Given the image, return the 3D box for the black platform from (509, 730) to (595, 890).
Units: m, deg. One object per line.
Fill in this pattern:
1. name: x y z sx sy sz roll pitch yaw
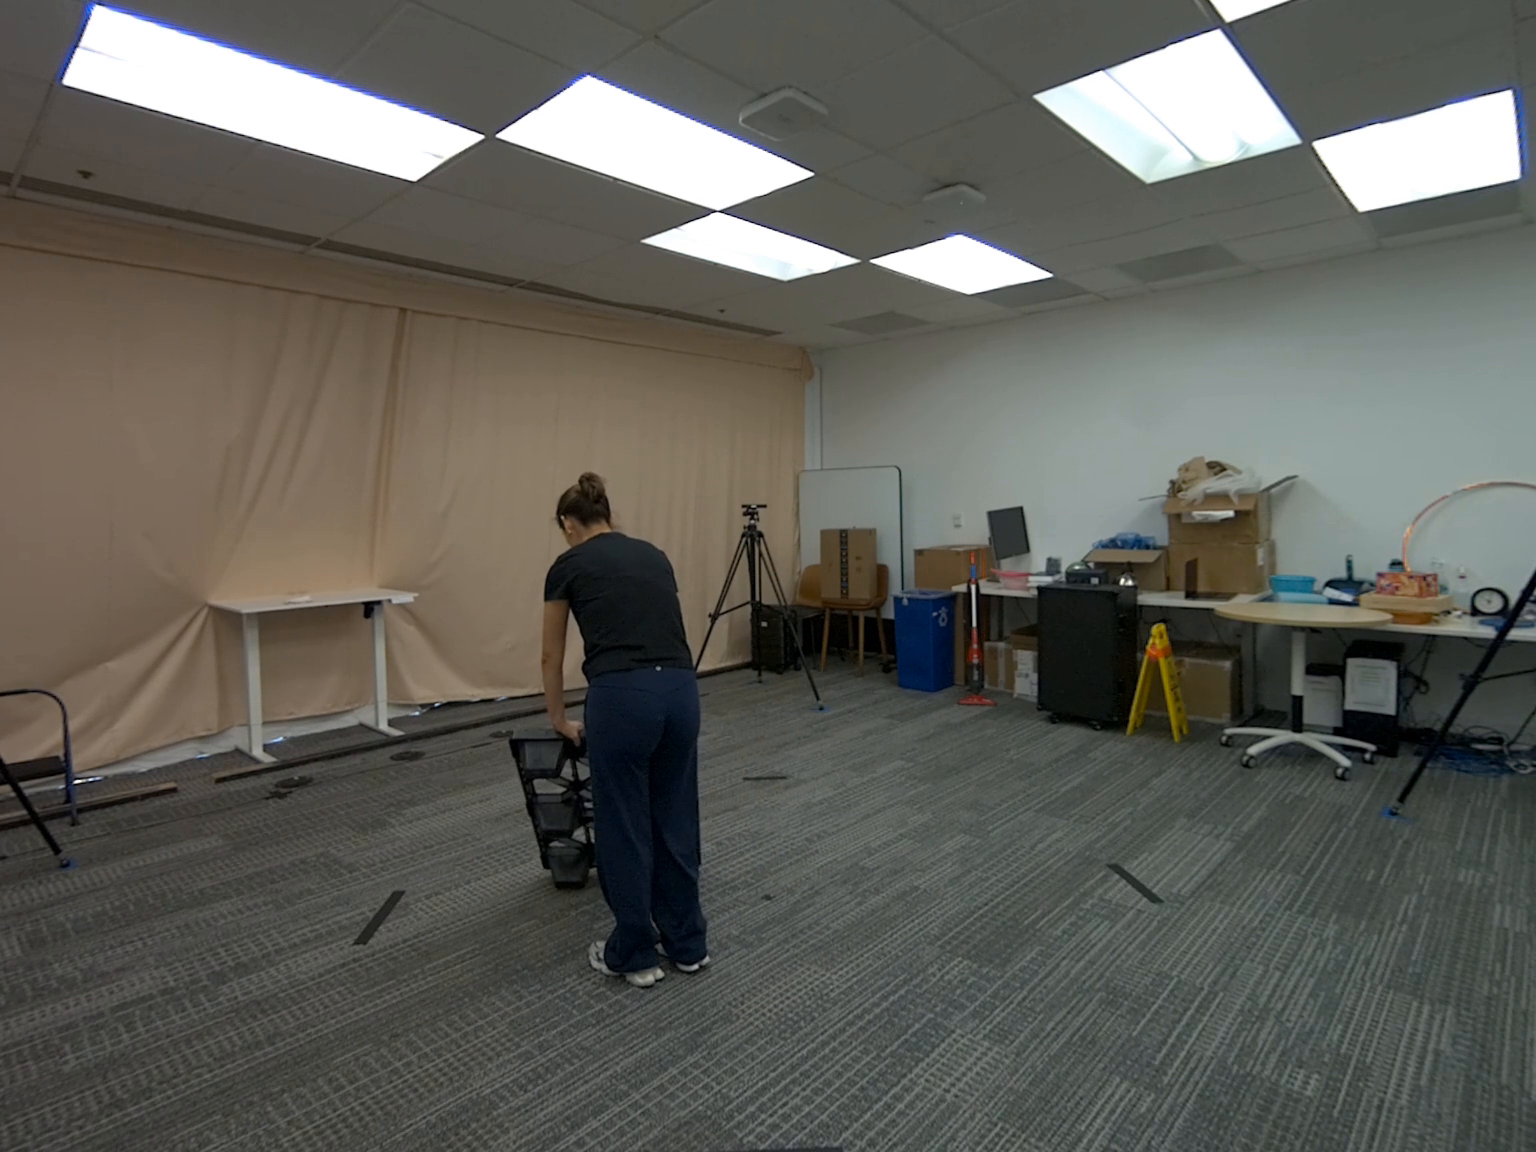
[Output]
1. black platform: -0.521 0.826 2.910 0.605 0.791 0.146 0 39 -1
